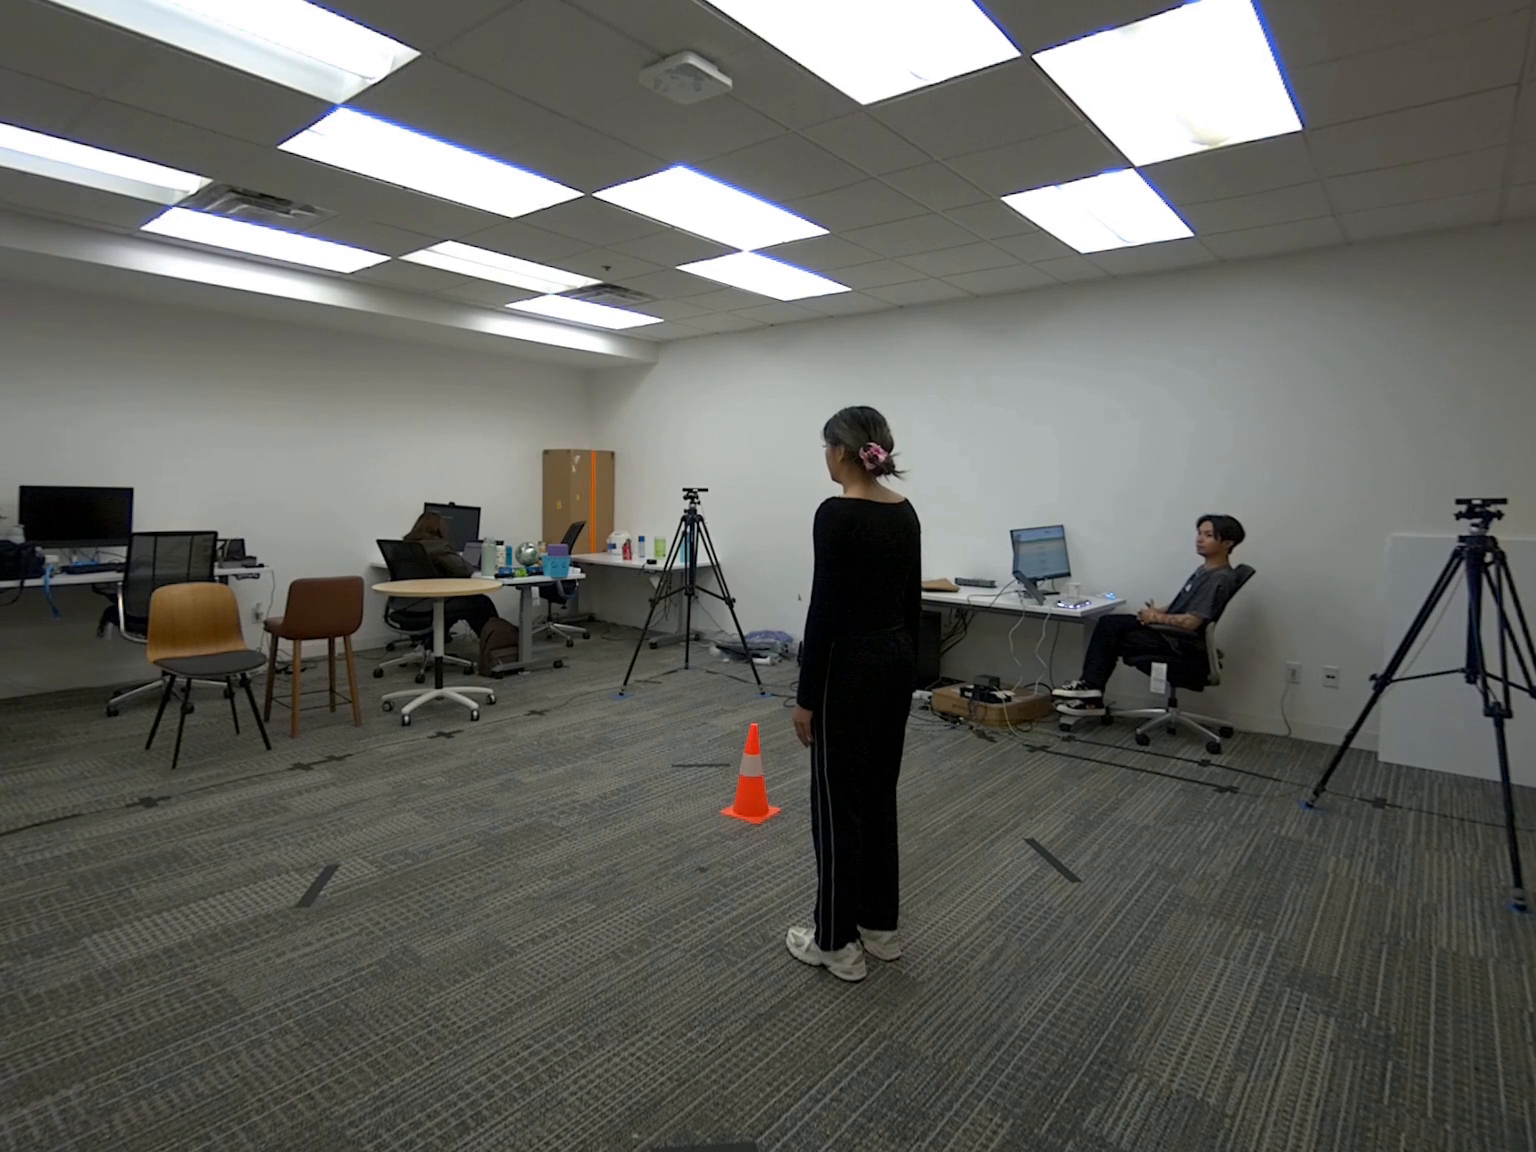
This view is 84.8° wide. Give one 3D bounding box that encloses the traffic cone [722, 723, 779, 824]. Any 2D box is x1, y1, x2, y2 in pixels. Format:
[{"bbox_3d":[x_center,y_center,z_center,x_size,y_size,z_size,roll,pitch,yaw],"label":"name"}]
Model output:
[{"bbox_3d":[-0.080,0.831,3.680,0.212,0.382,0.197,5,5,39],"label":"traffic cone"}]
